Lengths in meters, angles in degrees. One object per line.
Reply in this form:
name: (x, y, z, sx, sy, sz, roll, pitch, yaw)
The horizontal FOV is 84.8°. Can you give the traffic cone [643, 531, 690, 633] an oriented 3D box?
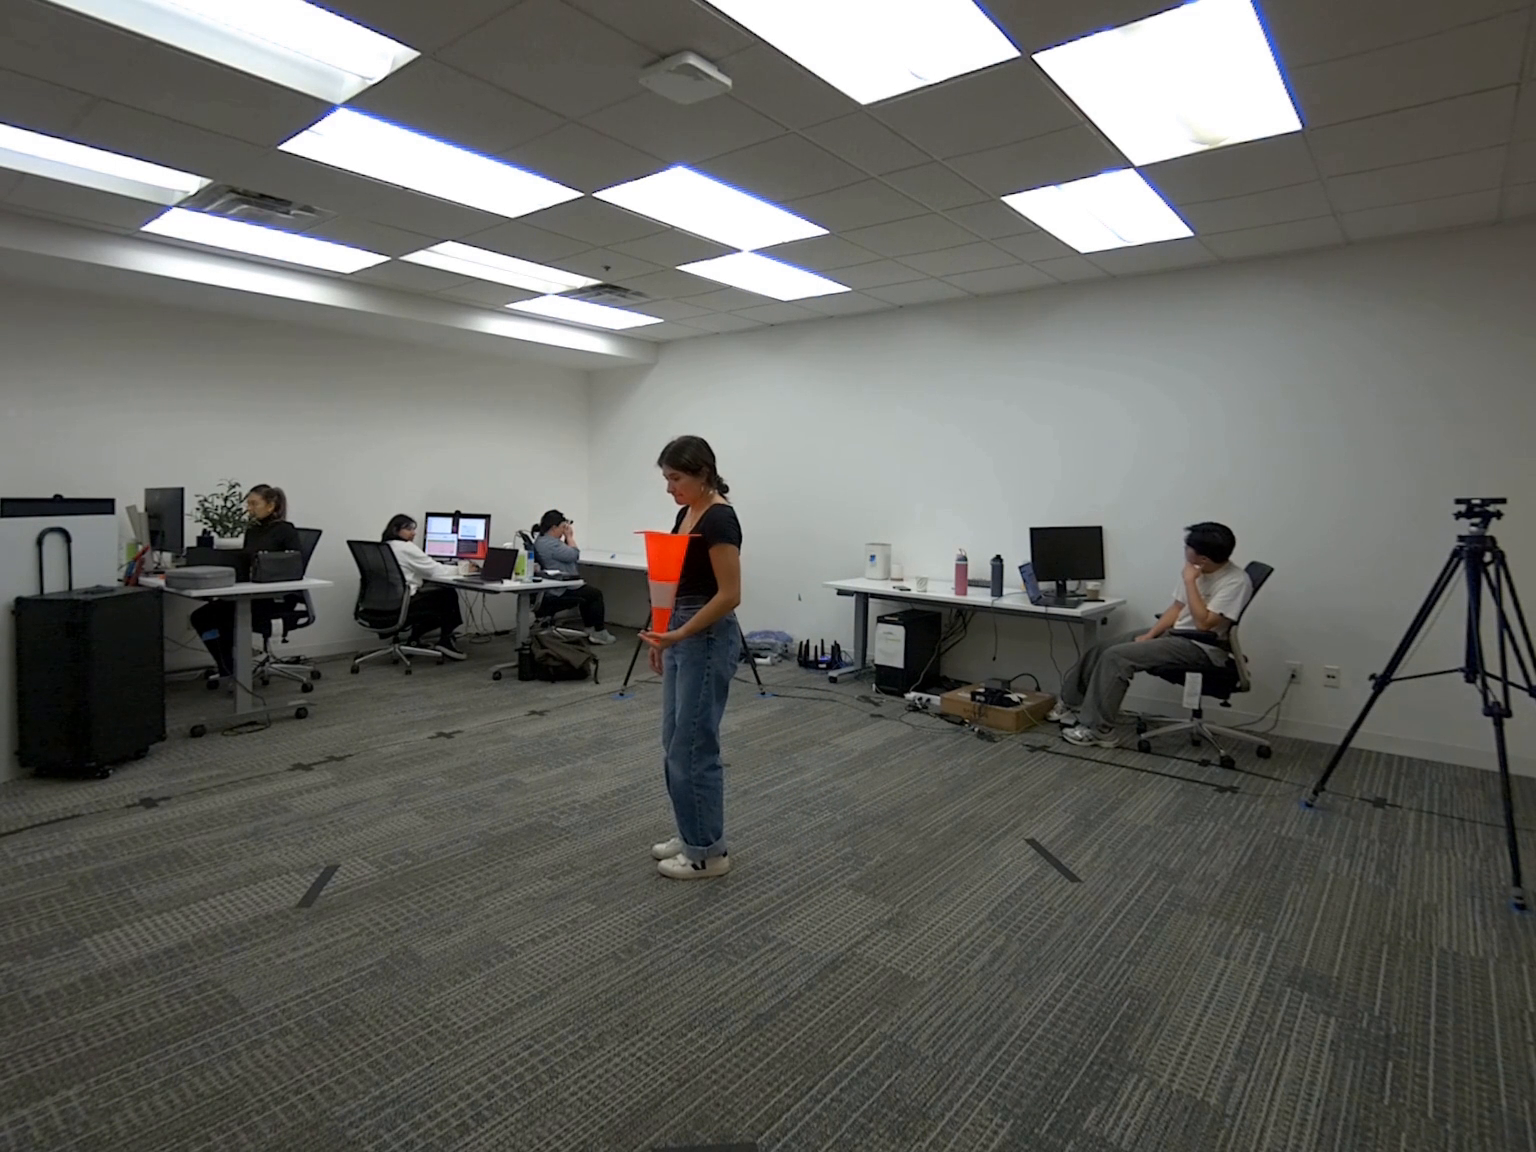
traffic cone: (-0.369, 0.037, 2.980, 0.199, 0.384, 0.209, 5, 0, -21)
